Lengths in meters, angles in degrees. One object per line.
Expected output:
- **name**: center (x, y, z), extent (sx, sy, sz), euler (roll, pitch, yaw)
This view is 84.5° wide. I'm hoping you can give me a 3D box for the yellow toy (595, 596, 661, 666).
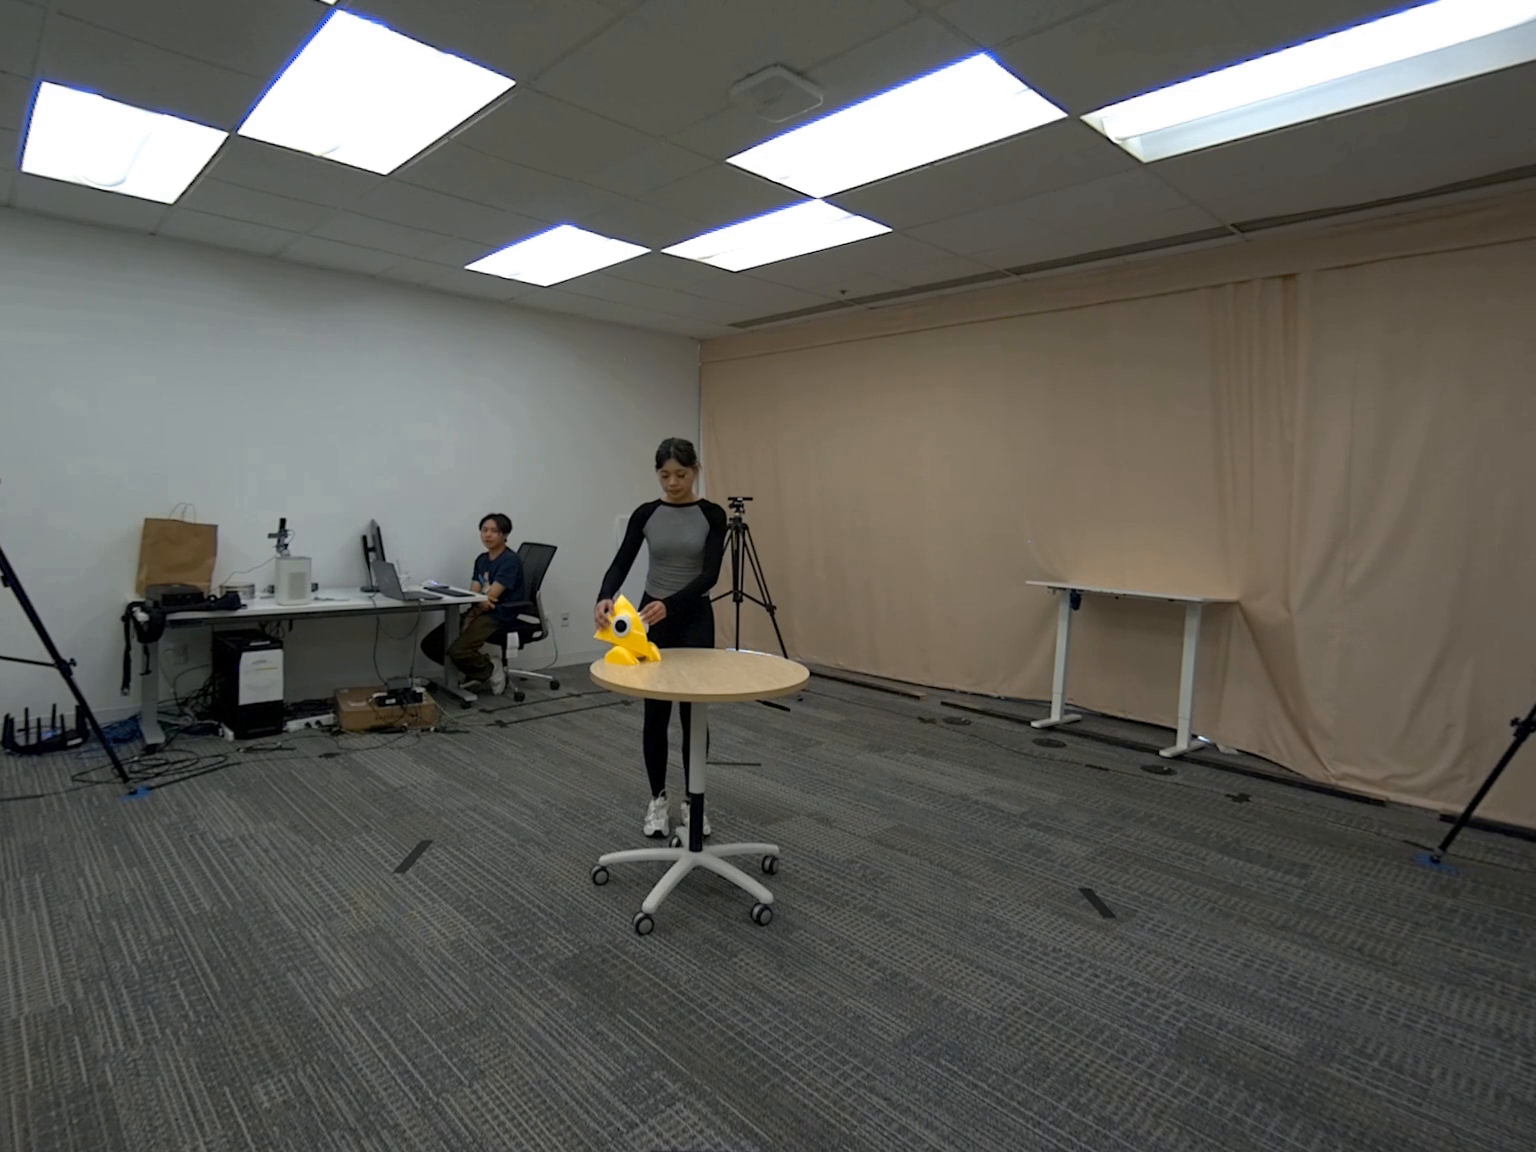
- **yellow toy**: center (-0.511, 0.193, 3.079), extent (0.198, 0.230, 0.200), euler (7, 5, 38)
